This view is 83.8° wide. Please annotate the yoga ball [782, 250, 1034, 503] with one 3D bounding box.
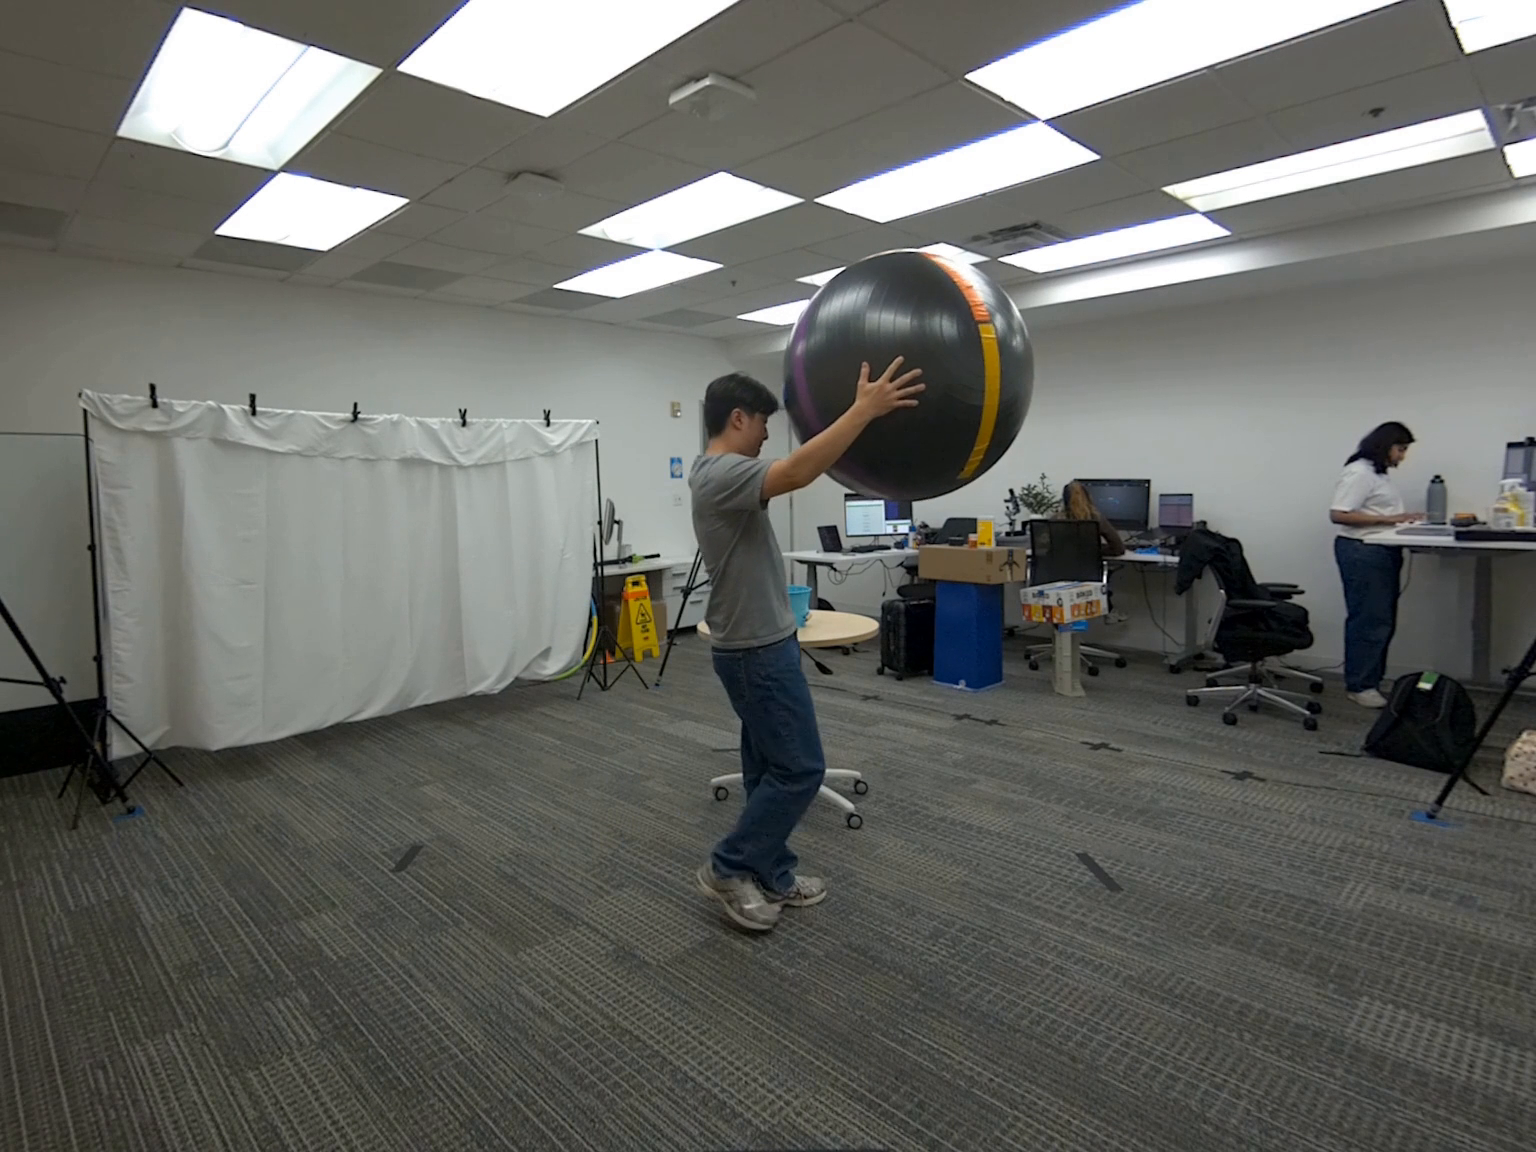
[{"bbox_3d":[0.426,-0.611,2.643,0.757,0.755,0.762,-1,5,-2],"label":"yoga ball"}]
